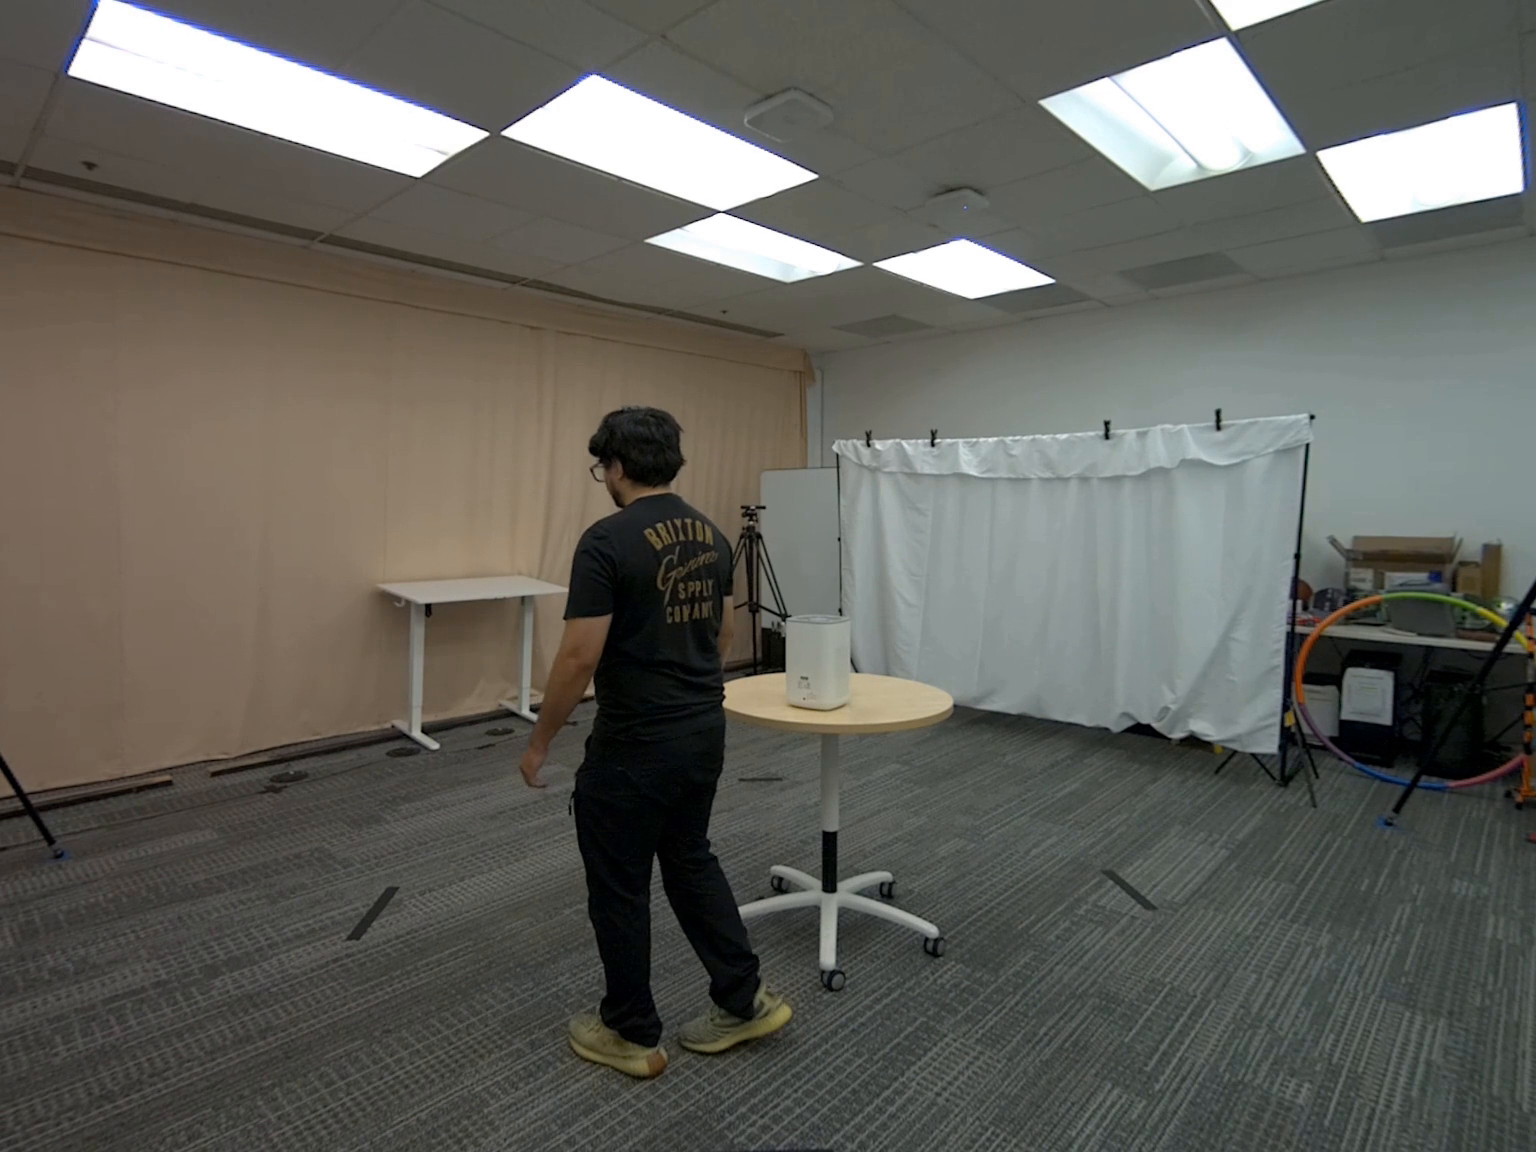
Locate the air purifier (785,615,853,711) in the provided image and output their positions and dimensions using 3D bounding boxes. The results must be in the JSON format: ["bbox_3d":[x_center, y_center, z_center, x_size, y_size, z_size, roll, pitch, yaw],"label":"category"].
[{"bbox_3d":[0.161,0.263,2.553,0.176,0.265,0.167,1,3,31],"label":"air purifier"}]
